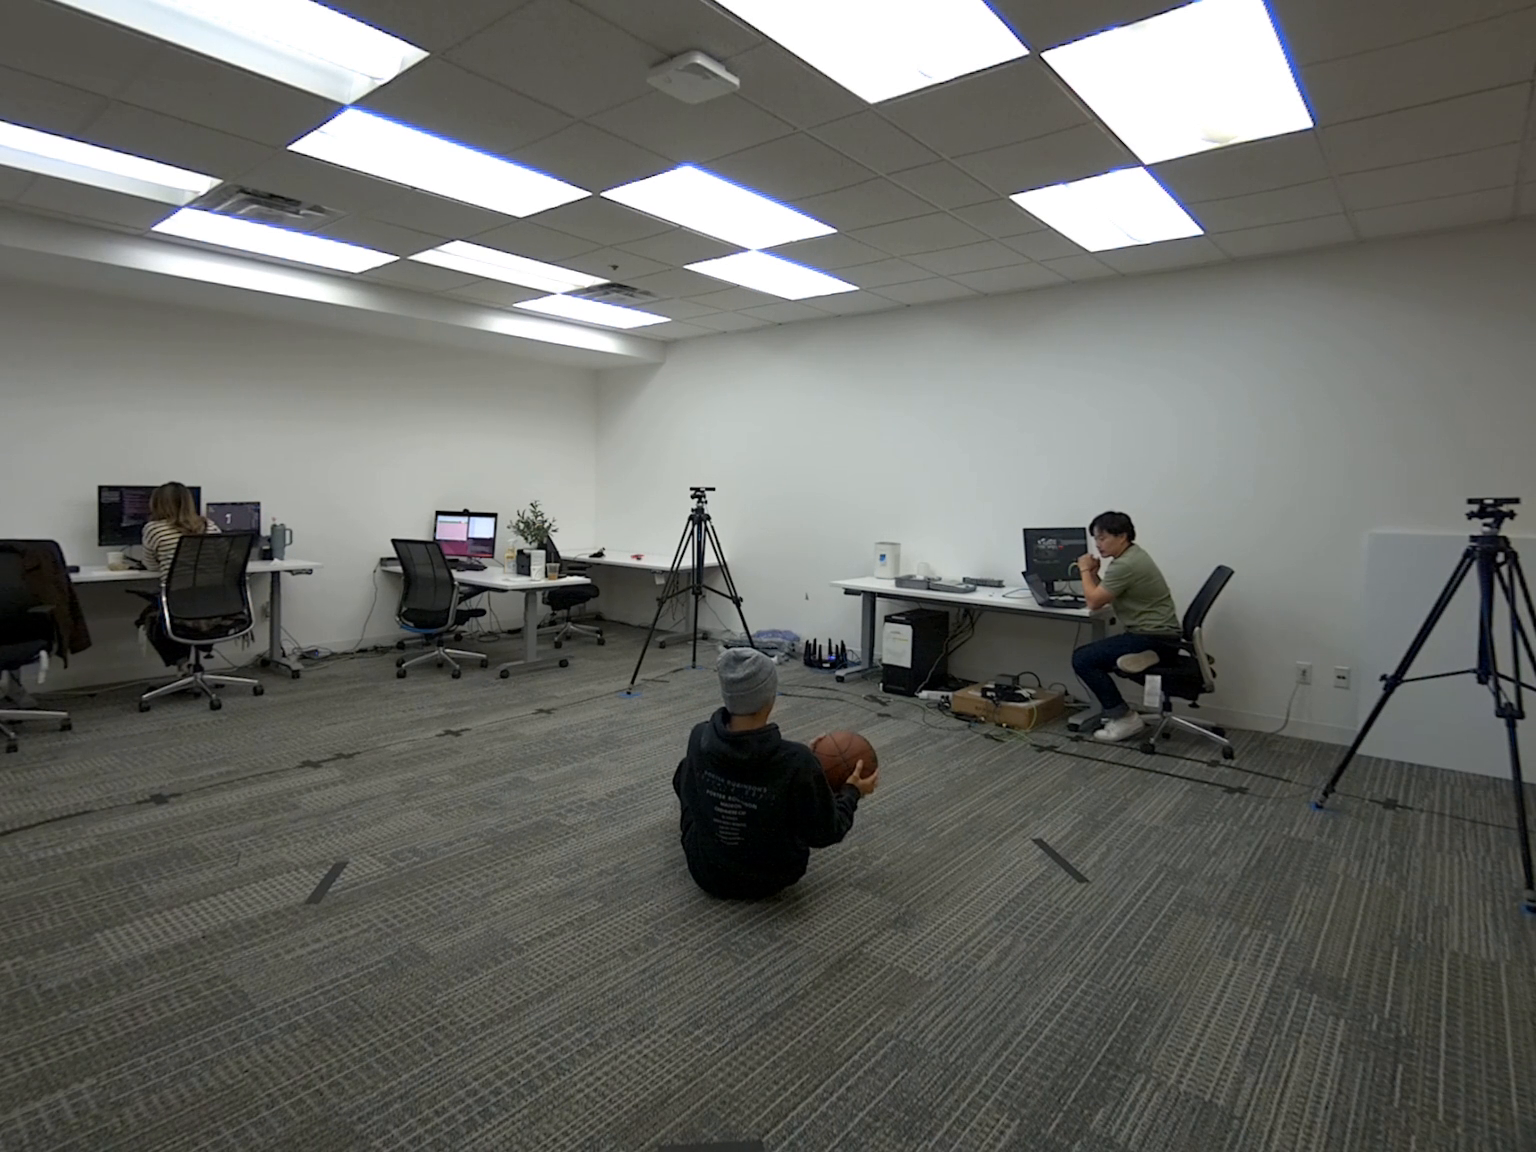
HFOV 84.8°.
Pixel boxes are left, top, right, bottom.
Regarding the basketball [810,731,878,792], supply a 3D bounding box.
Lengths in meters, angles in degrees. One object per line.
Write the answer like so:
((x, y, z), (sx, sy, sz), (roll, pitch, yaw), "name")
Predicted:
((0.271, 0.683, 3.114), (0.235, 0.235, 0.237), (1, 4, -2), "basketball")
